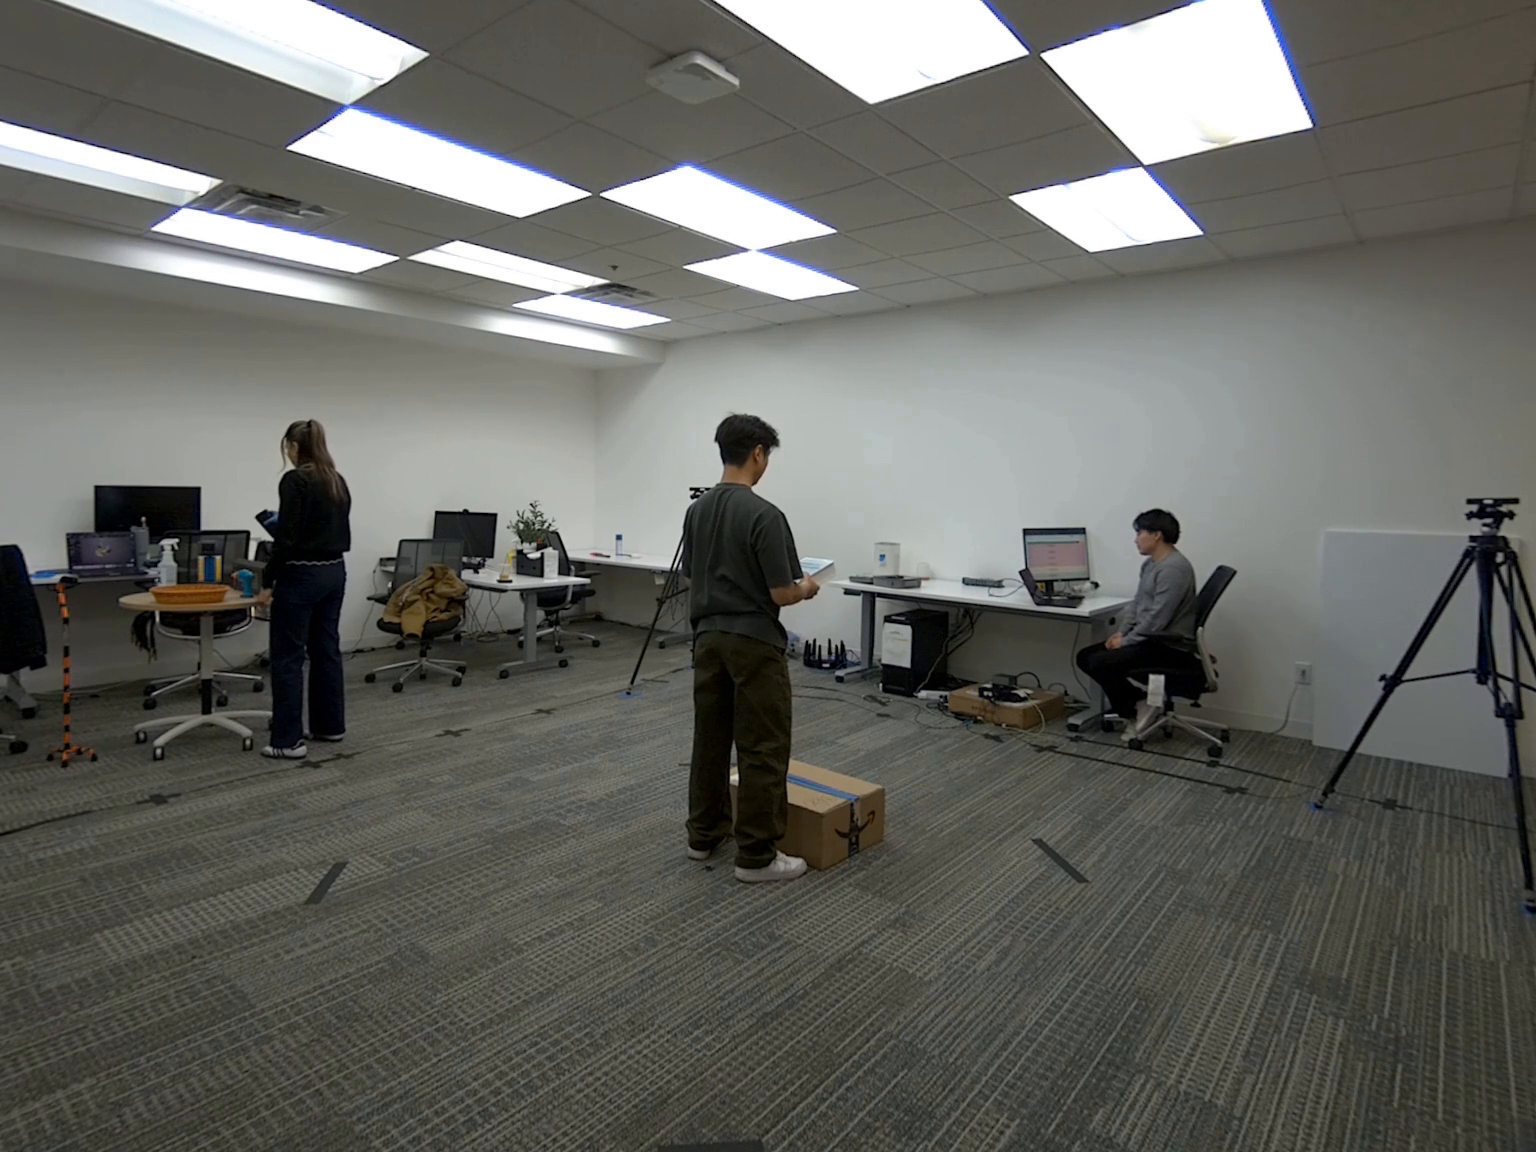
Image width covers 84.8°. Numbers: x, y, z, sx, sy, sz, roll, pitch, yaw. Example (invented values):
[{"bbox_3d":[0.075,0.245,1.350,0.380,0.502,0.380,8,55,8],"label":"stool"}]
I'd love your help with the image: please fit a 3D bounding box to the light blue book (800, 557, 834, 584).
[{"bbox_3d":[0.112,0.012,3.312,0.258,0.058,0.197,-28,20,-28],"label":"light blue book"}]
